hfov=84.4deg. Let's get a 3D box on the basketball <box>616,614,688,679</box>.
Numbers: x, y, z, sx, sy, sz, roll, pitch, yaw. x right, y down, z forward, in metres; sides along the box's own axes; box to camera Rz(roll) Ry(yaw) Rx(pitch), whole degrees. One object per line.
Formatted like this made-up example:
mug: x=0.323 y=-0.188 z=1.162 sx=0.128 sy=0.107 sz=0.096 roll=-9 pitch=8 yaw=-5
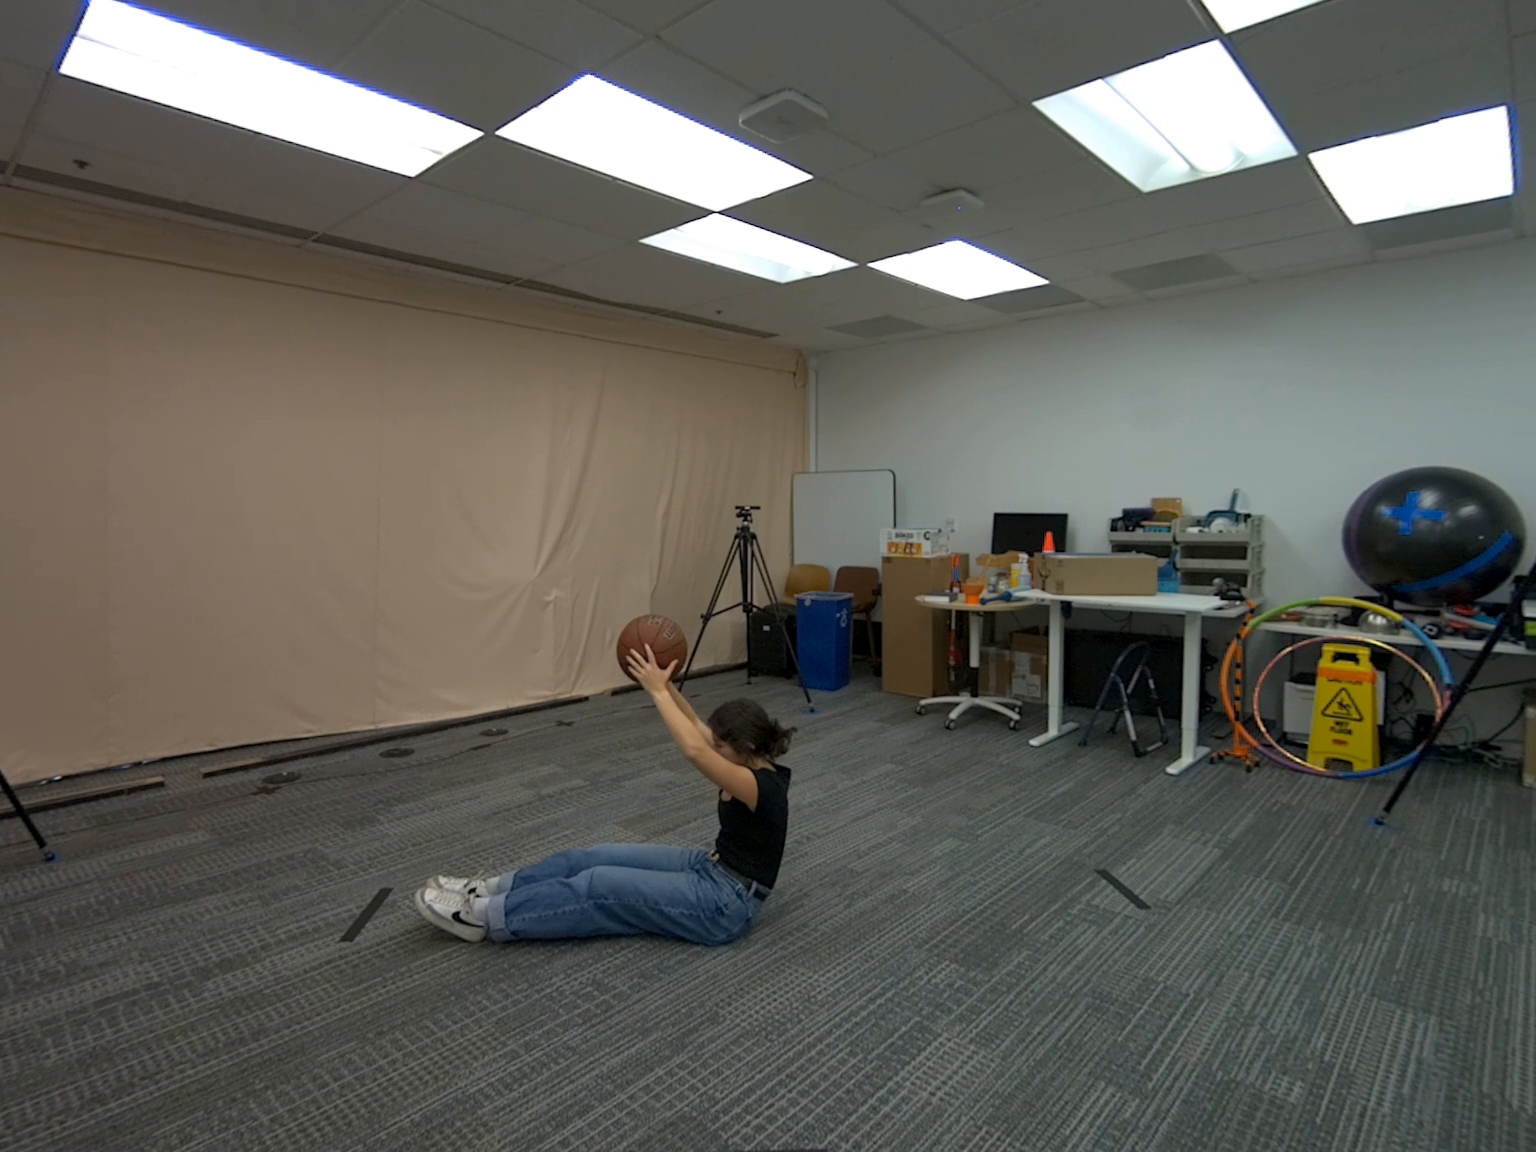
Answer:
basketball: x=-0.384 y=0.255 z=2.823 sx=0.236 sy=0.235 sz=0.237 roll=0 pitch=4 yaw=-2
